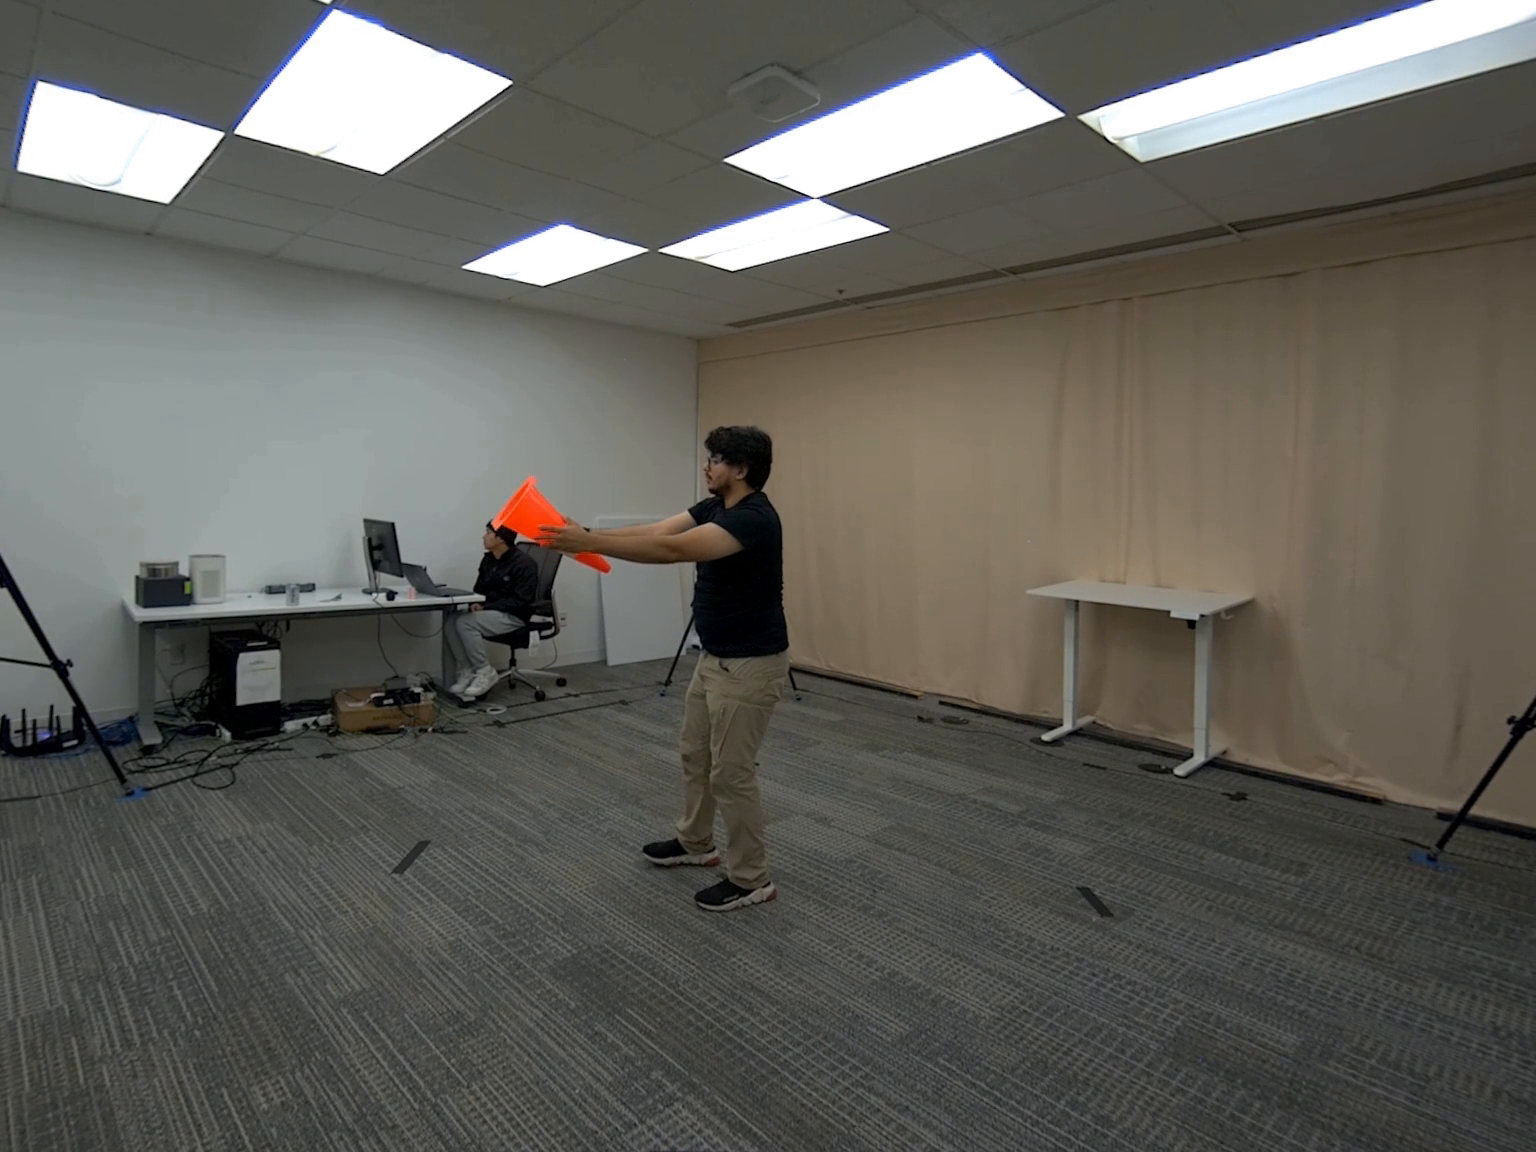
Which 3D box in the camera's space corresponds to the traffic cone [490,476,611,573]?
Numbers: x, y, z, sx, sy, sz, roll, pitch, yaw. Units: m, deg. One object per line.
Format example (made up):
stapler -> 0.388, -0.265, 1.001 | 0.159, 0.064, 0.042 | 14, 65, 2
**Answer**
traffic cone -> -0.671, -0.119, 2.694 | 0.376, 0.203, 0.209 | 38, -6, -20
